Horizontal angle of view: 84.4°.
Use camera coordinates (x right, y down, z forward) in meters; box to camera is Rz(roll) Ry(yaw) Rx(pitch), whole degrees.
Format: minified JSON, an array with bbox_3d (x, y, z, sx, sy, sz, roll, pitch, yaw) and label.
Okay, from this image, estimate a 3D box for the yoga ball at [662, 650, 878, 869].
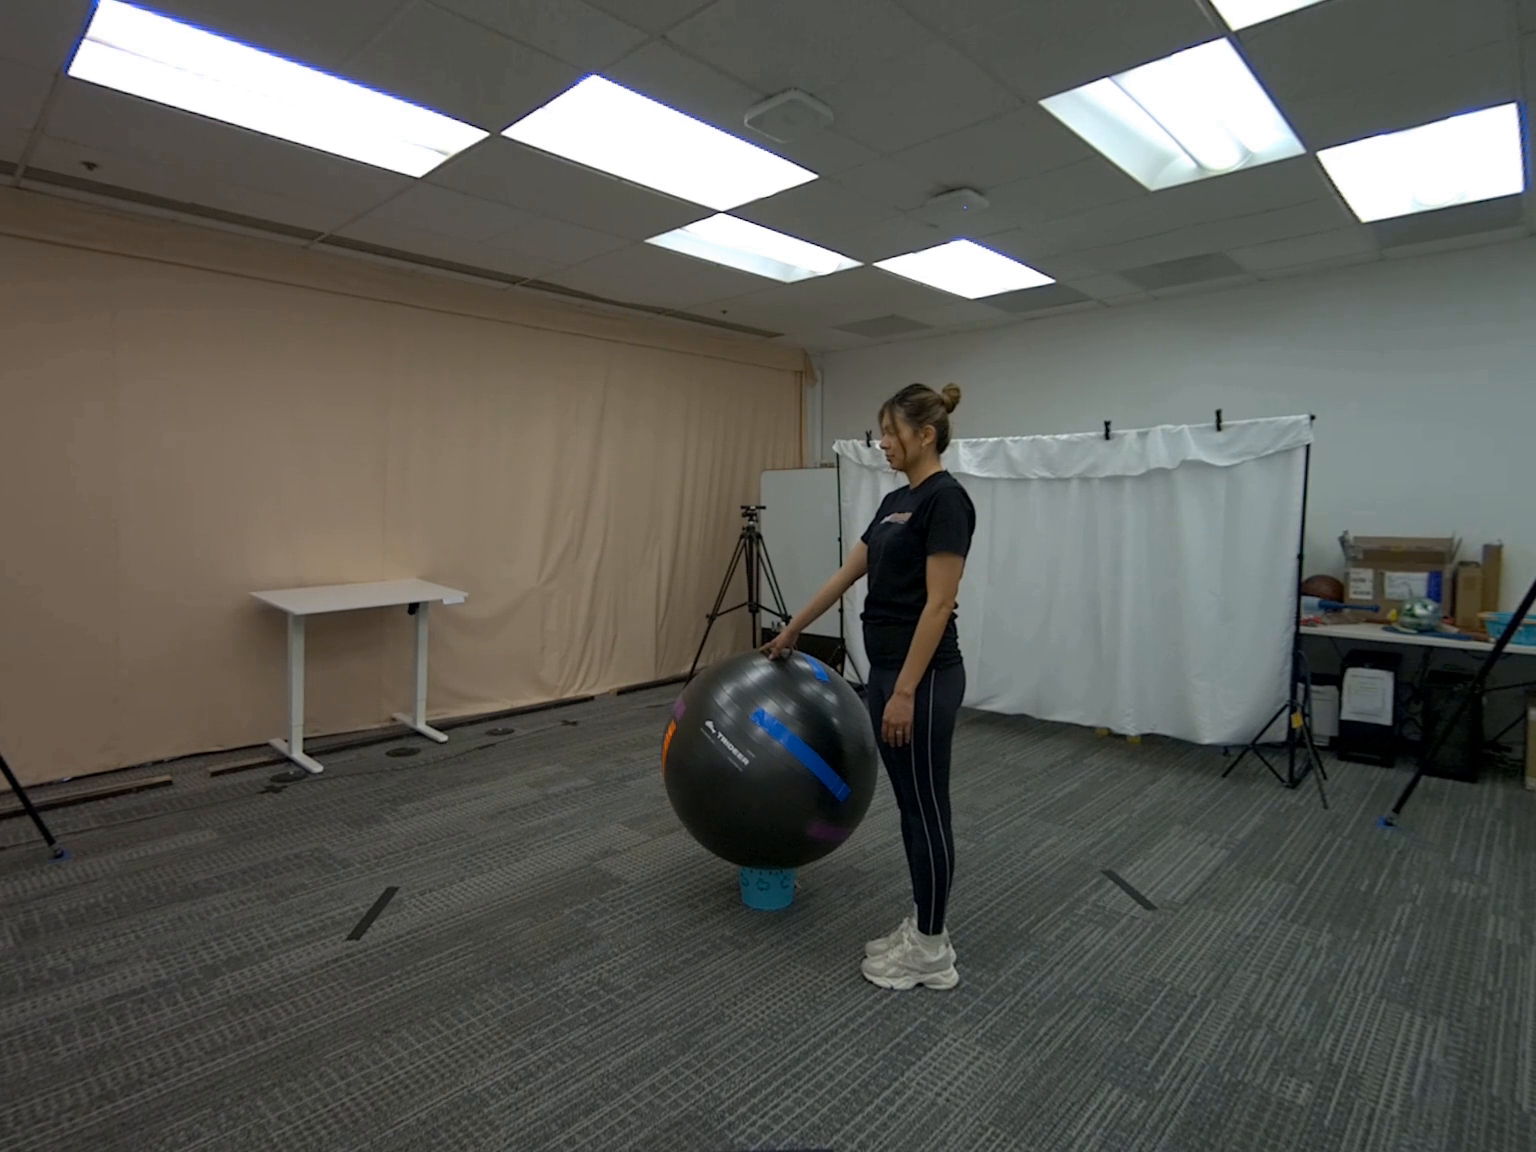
[{"bbox_3d":[0.010,0.642,2.964,0.757,0.756,0.760,0,4,-2],"label":"yoga ball"}]
